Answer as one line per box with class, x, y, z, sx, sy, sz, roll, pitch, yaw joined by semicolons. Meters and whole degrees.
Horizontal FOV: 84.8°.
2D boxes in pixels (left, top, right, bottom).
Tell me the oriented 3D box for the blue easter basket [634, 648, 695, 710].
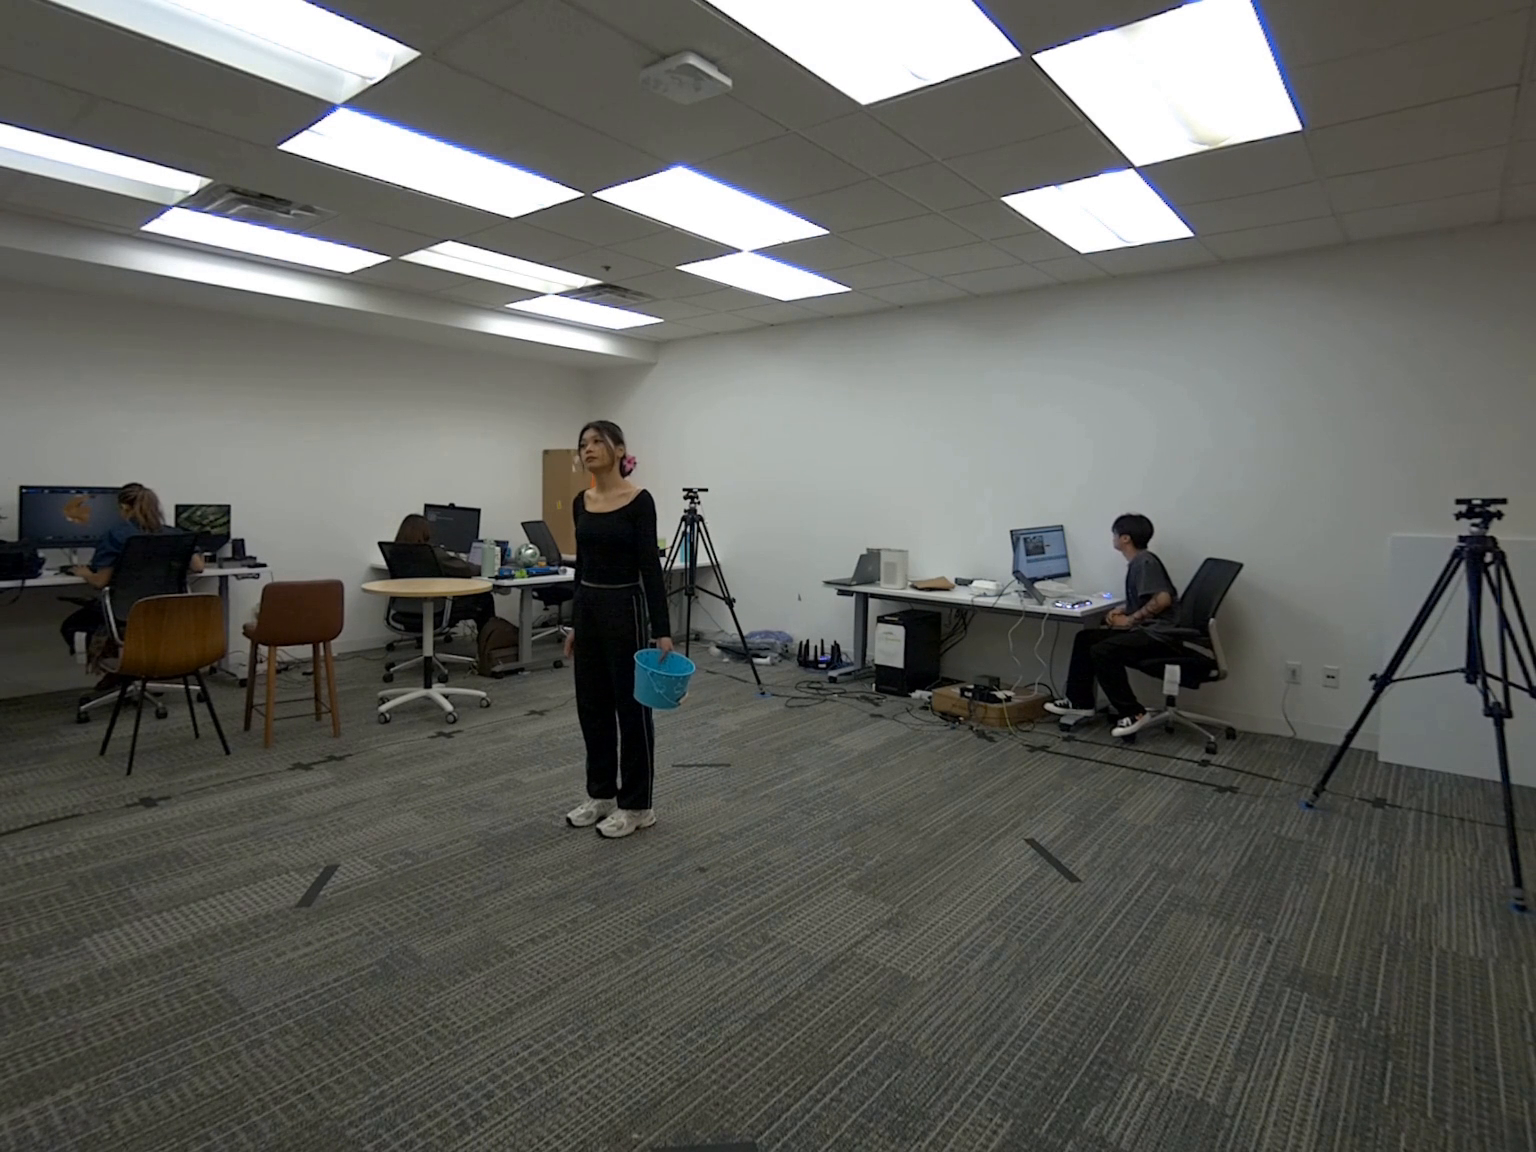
blue easter basket;-0.410;0.395;3.202;0.242;0.154;0.247;11;14;-5
